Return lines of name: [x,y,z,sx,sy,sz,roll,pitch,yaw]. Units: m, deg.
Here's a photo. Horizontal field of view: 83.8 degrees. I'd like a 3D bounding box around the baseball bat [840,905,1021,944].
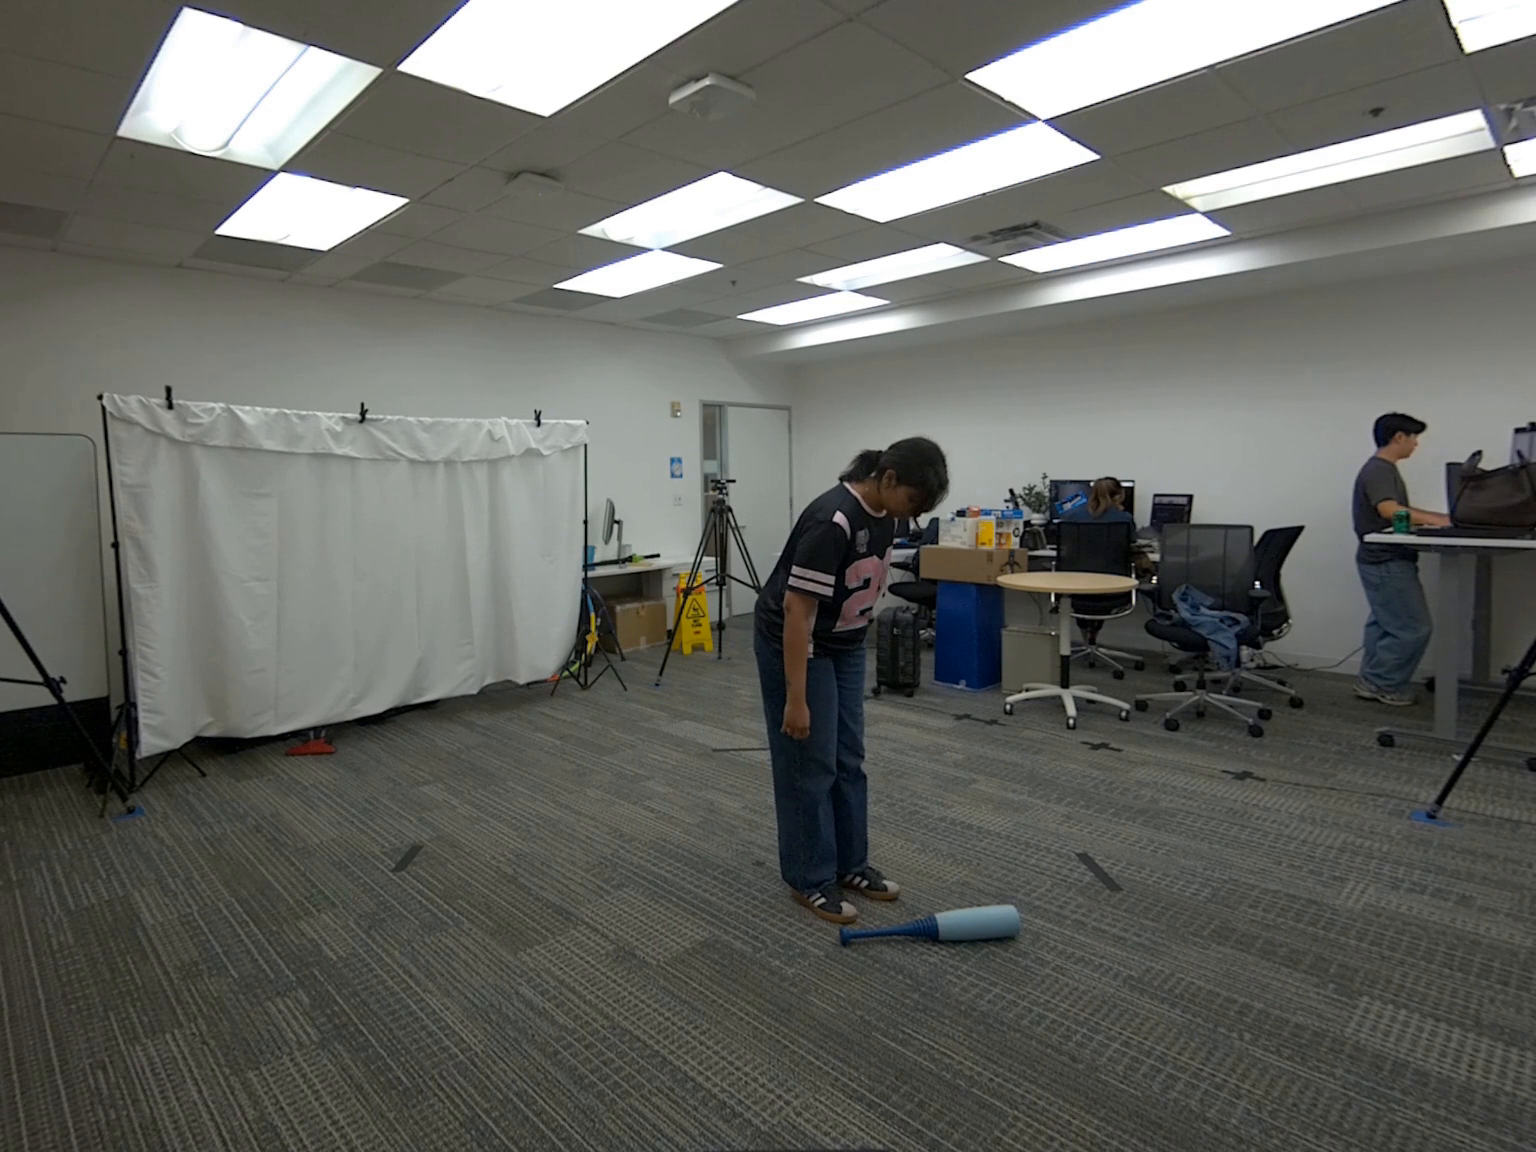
baseball bat: [0.493,1.064,2.569,0.542,0.089,0.089,-5,5,-2]
